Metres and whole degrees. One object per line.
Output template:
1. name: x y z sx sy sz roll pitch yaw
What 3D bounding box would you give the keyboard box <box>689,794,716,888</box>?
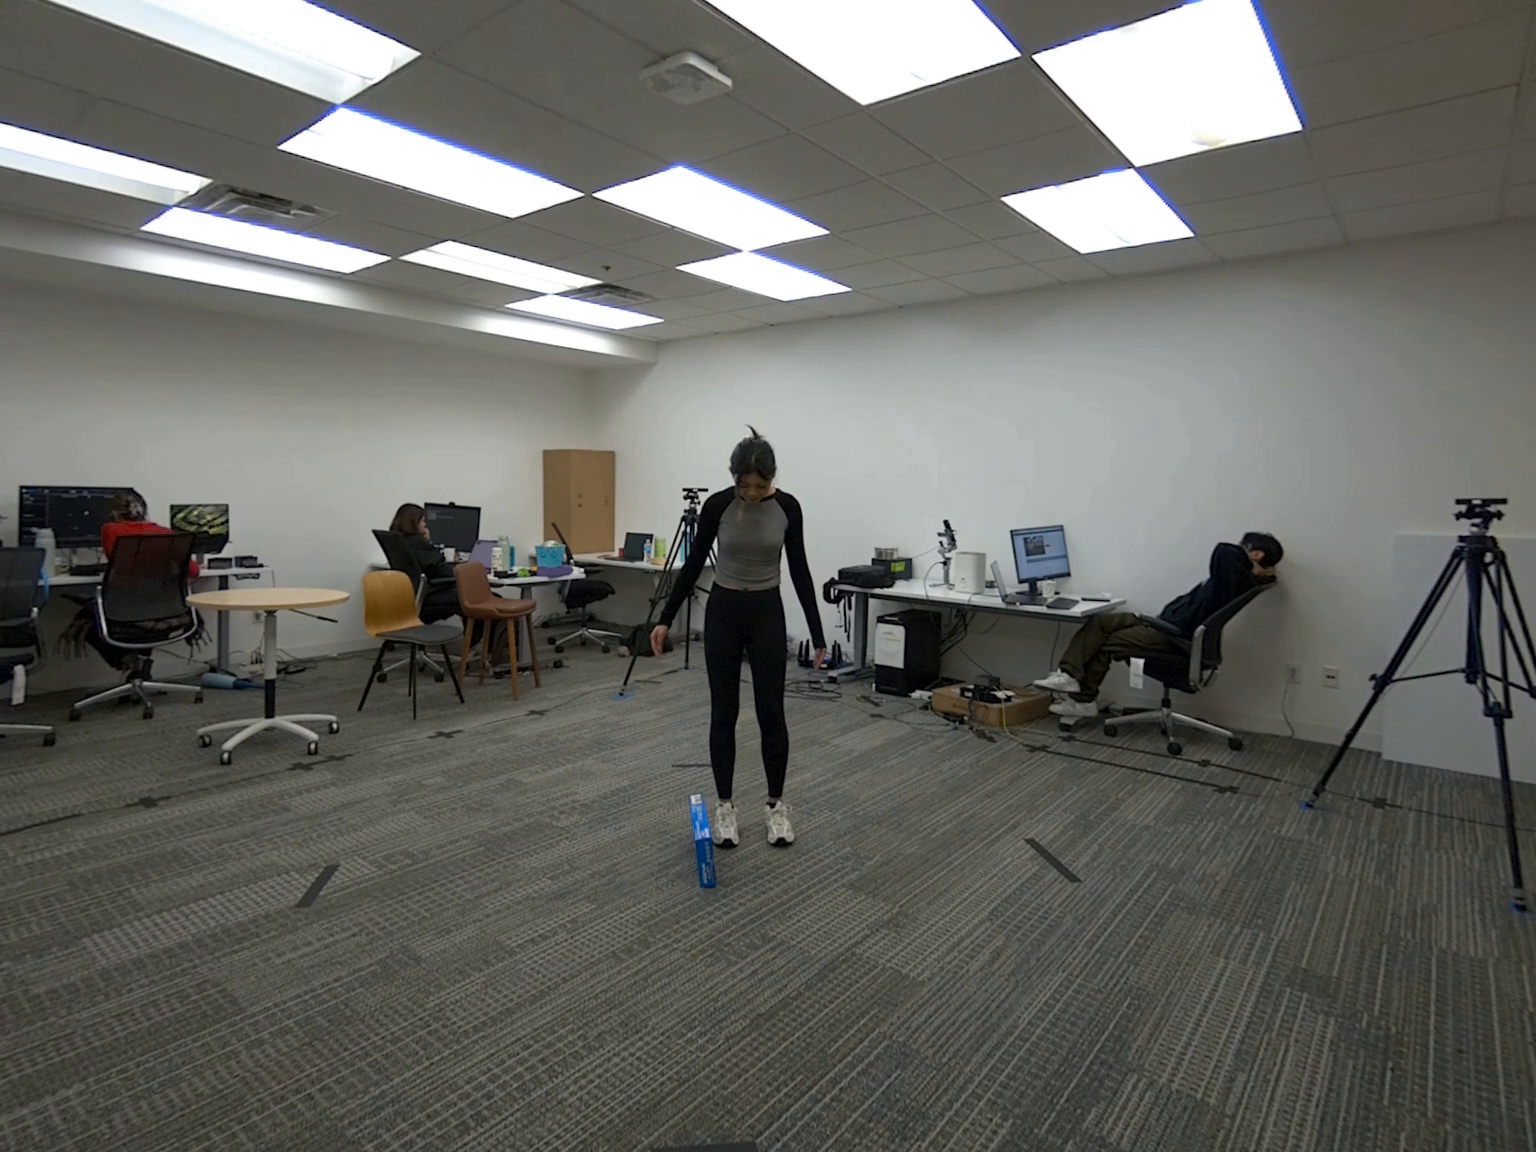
1. keyboard box: -0.256 0.969 3.174 0.059 0.175 0.442 -5 6 -8
